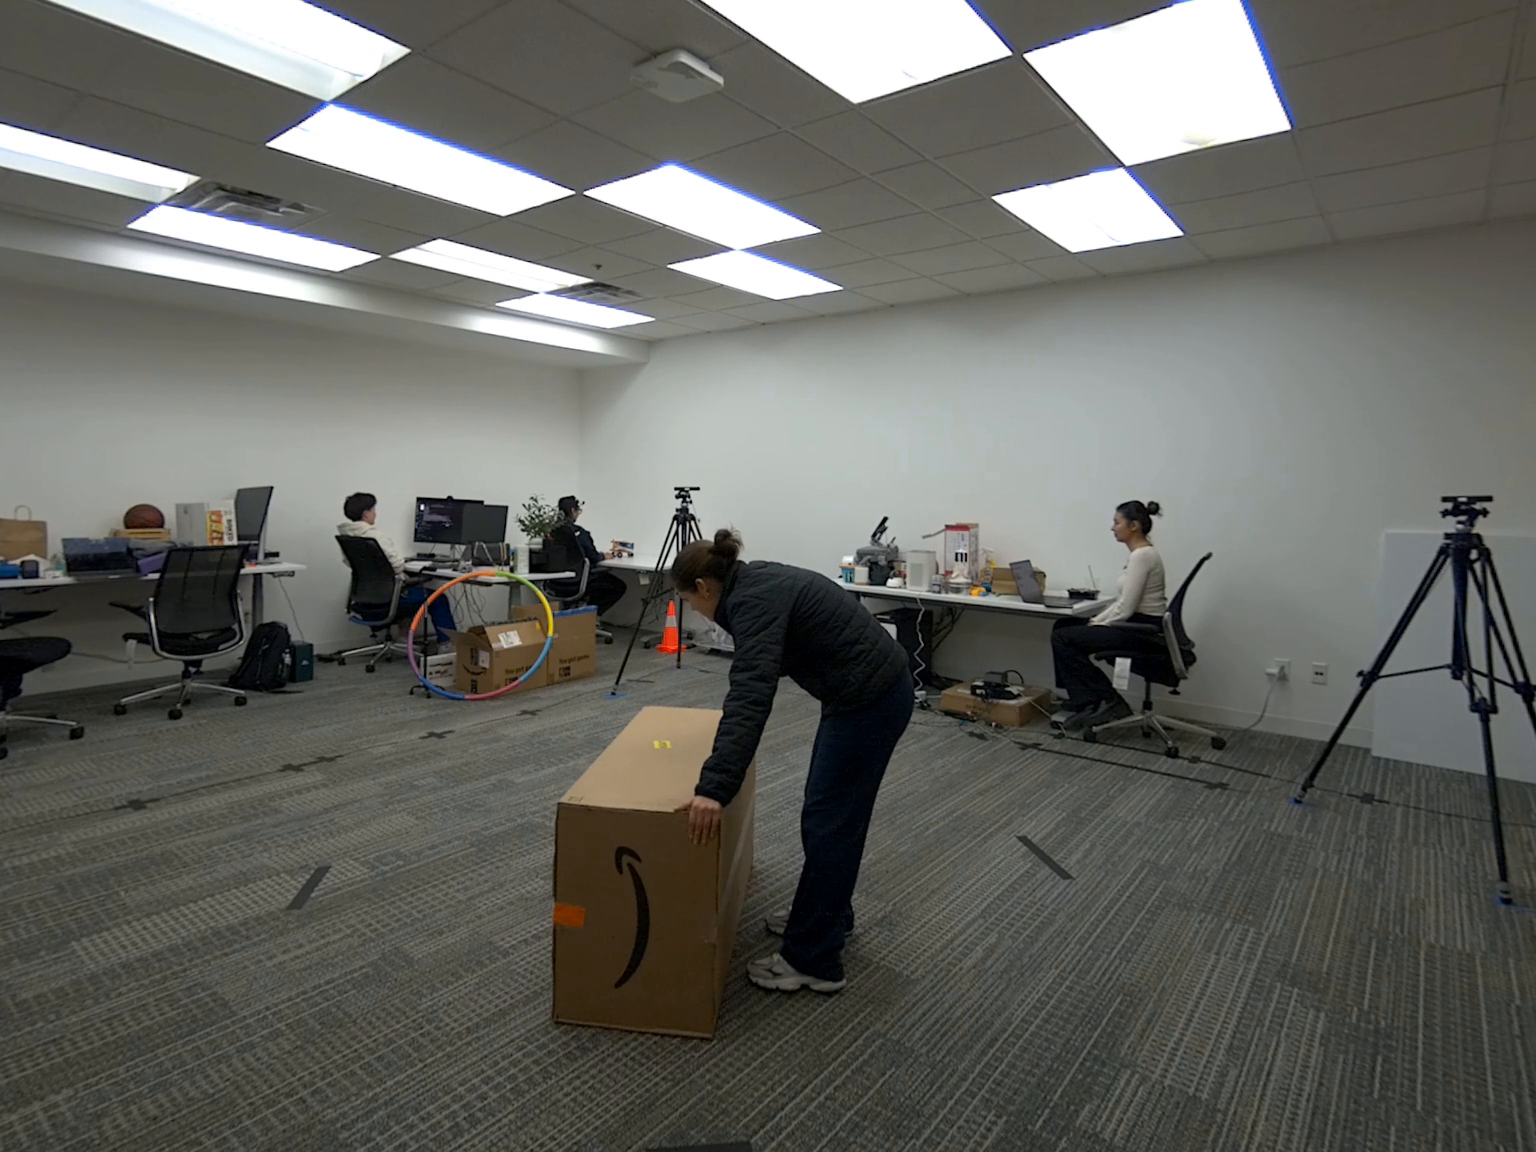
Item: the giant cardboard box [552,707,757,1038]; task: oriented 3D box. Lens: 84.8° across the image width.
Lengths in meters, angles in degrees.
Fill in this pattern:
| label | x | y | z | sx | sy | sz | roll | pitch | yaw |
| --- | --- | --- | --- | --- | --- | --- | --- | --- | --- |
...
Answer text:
| label | x | y | z | sx | sy | sz | roll | pitch | yaw |
| --- | --- | --- | --- | --- | --- | --- | --- | --- | --- |
| giant cardboard box | -0.295 | 0.819 | 2.670 | 0.450 | 0.582 | 1.023 | 1 | 4 | 5 |
